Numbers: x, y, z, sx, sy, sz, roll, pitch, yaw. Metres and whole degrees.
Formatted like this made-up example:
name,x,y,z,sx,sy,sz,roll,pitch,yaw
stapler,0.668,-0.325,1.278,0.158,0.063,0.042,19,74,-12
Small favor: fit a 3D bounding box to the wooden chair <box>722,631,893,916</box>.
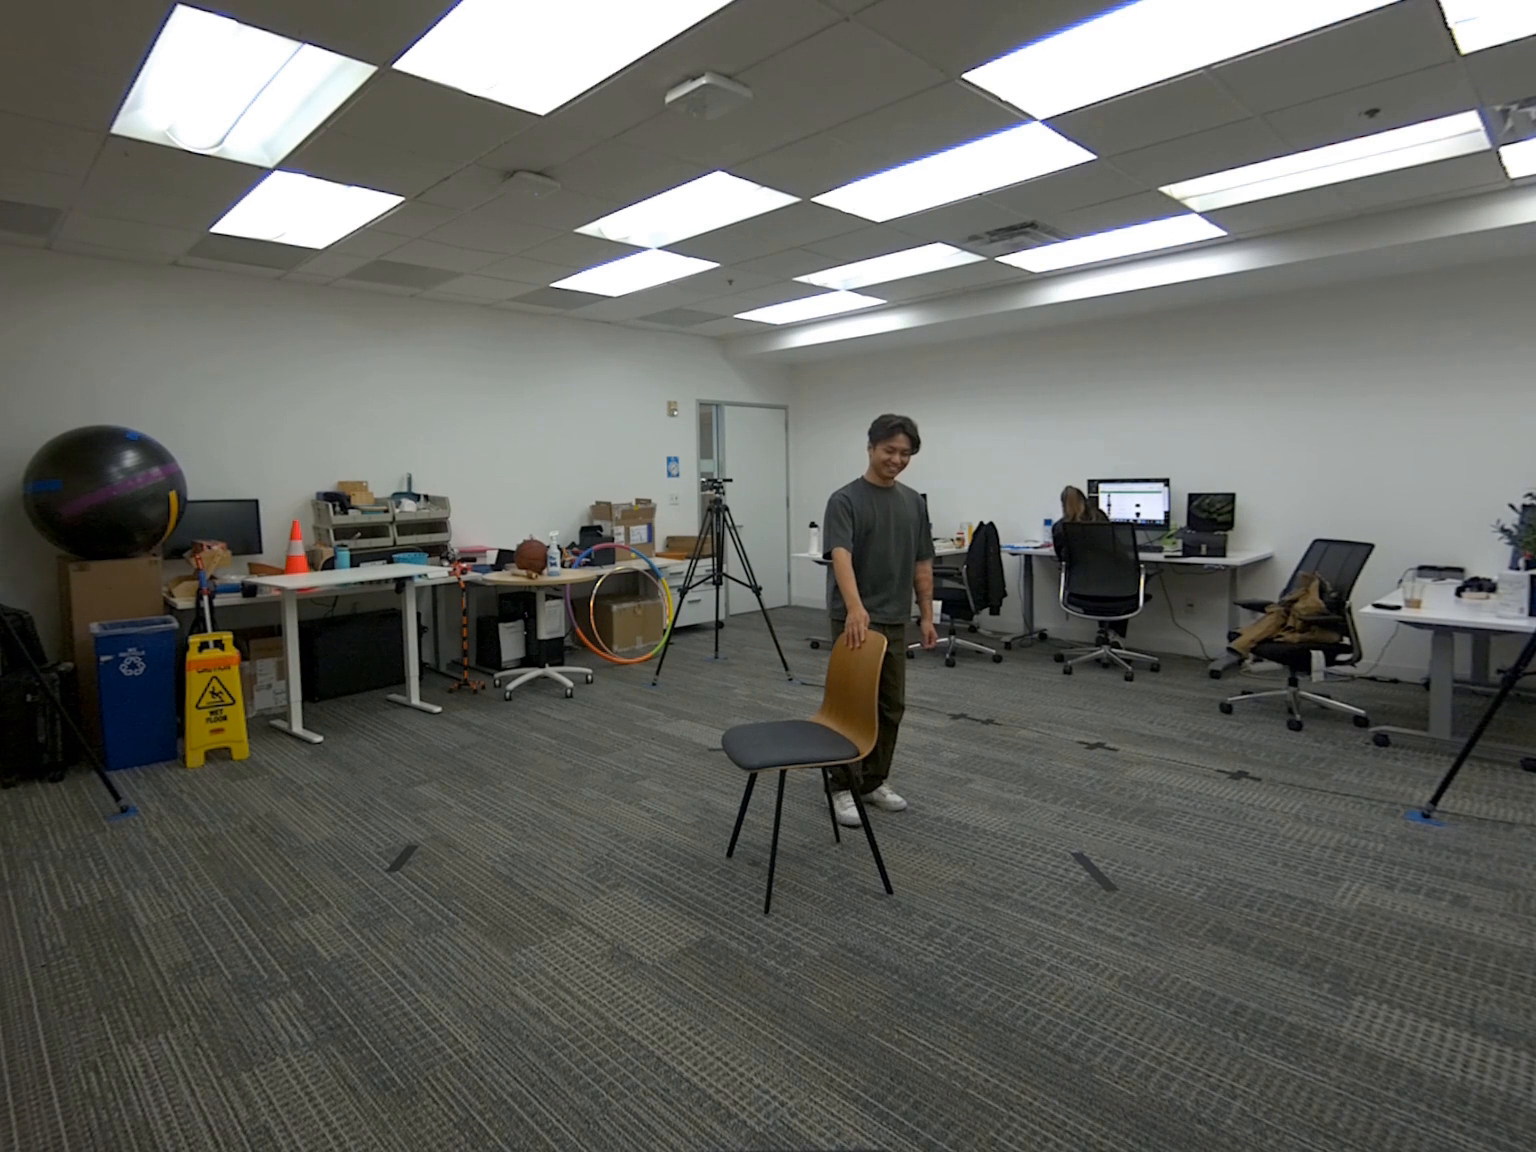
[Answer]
name,x,y,z,sx,sy,sz,roll,pitch,yaw
wooden chair,0.122,0.630,2.975,0.514,0.875,0.488,2,4,-18
